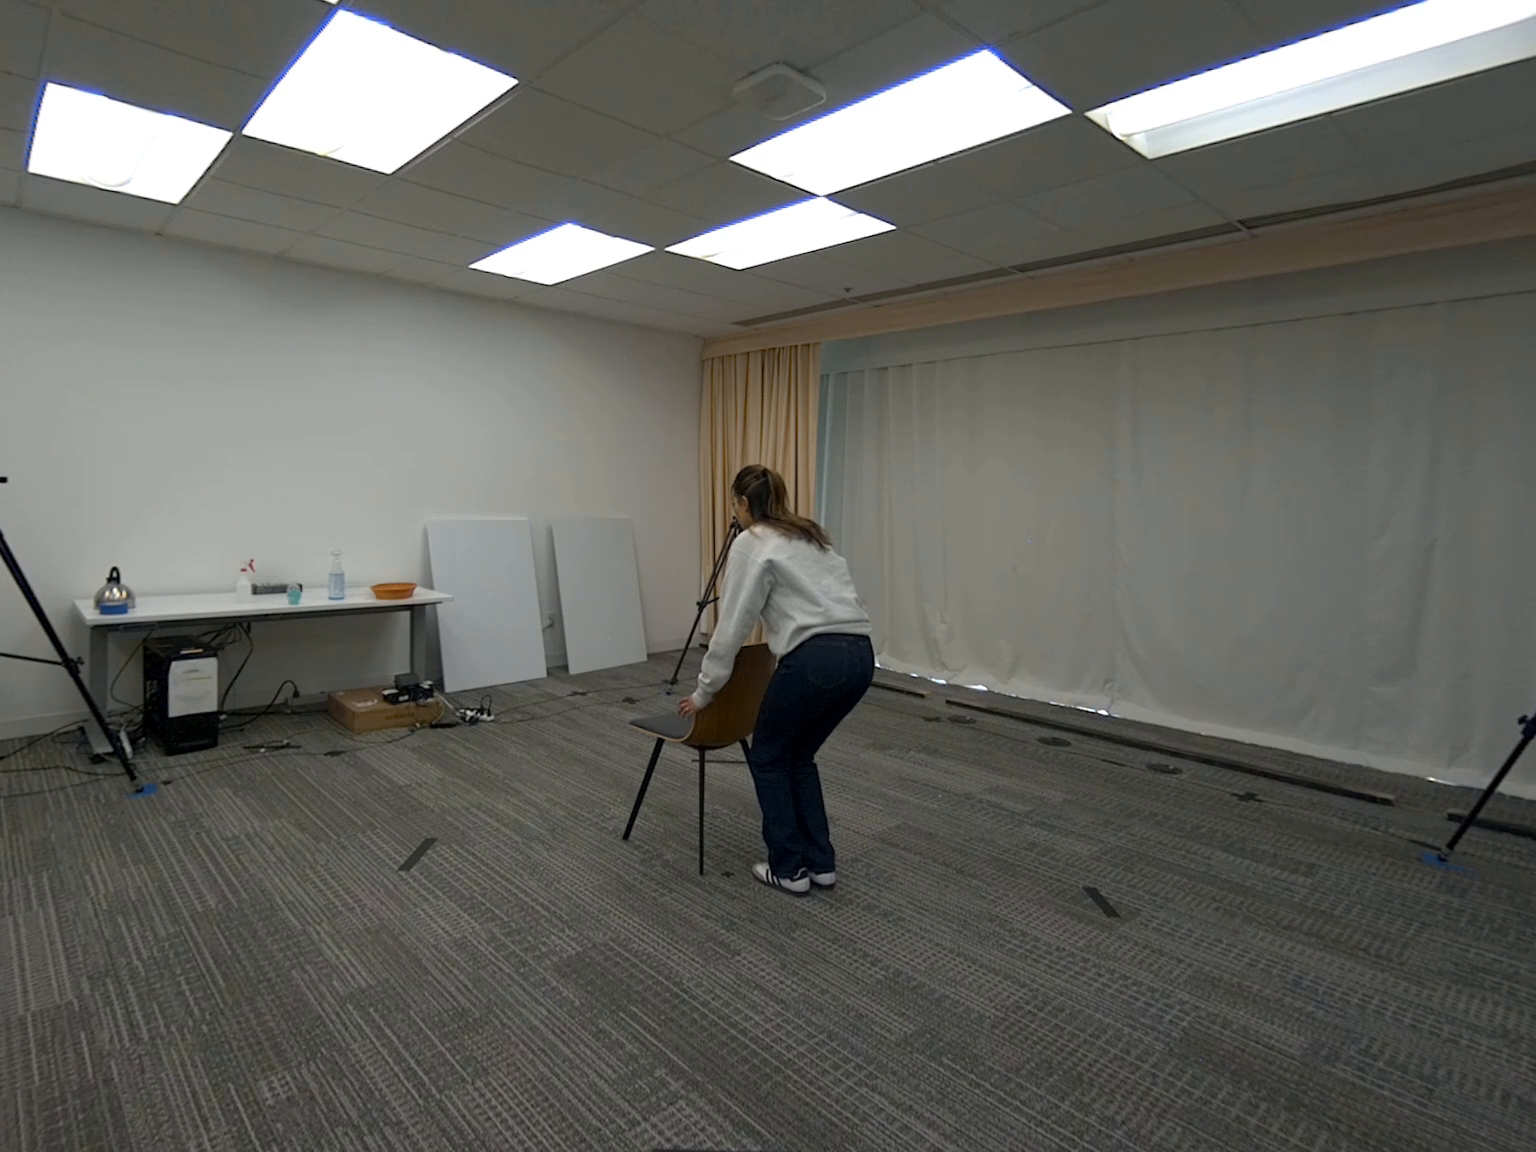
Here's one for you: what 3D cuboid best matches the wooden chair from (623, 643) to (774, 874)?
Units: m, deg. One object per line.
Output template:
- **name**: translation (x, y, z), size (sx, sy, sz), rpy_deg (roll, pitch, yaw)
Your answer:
- **wooden chair**: translation (-0.267, 0.646, 3.372), size (0.537, 0.873, 0.467), rpy_deg (11, 9, 41)
